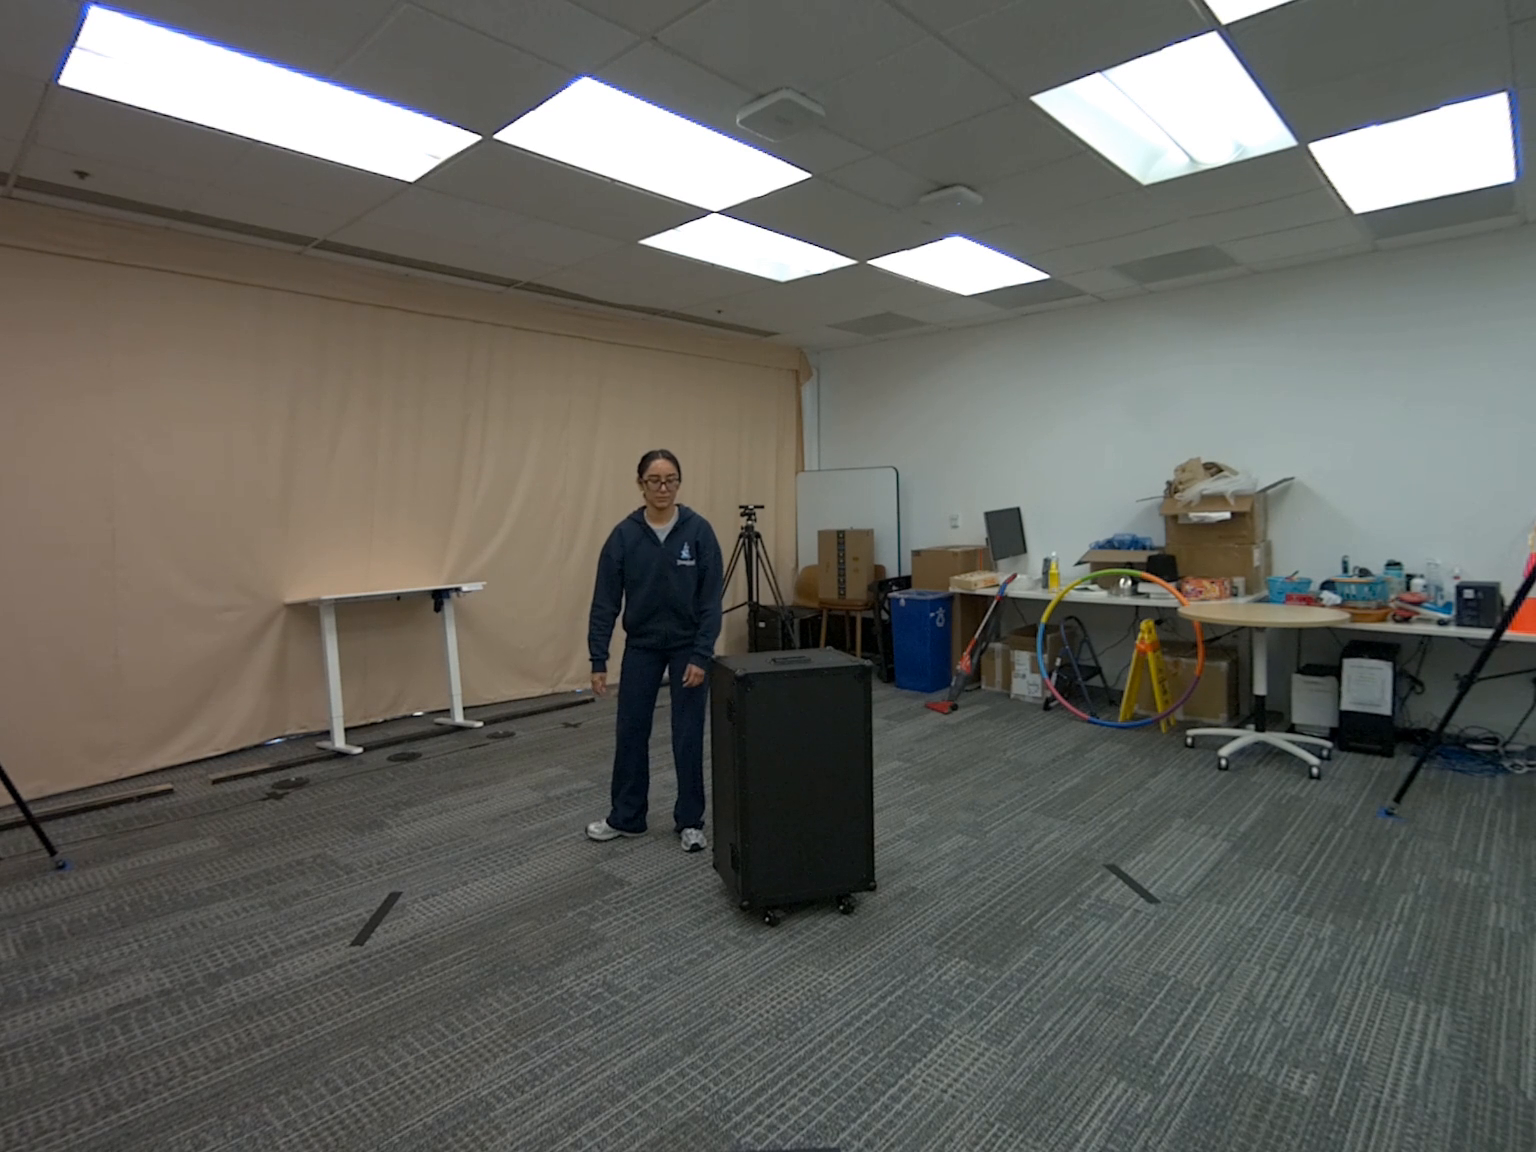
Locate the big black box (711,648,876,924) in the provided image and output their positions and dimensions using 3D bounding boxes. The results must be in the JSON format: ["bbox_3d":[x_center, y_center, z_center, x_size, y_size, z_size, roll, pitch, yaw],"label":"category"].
[{"bbox_3d":[0.072,0.717,2.969,0.513,0.860,0.403,-2,2,-17],"label":"big black box"}]
